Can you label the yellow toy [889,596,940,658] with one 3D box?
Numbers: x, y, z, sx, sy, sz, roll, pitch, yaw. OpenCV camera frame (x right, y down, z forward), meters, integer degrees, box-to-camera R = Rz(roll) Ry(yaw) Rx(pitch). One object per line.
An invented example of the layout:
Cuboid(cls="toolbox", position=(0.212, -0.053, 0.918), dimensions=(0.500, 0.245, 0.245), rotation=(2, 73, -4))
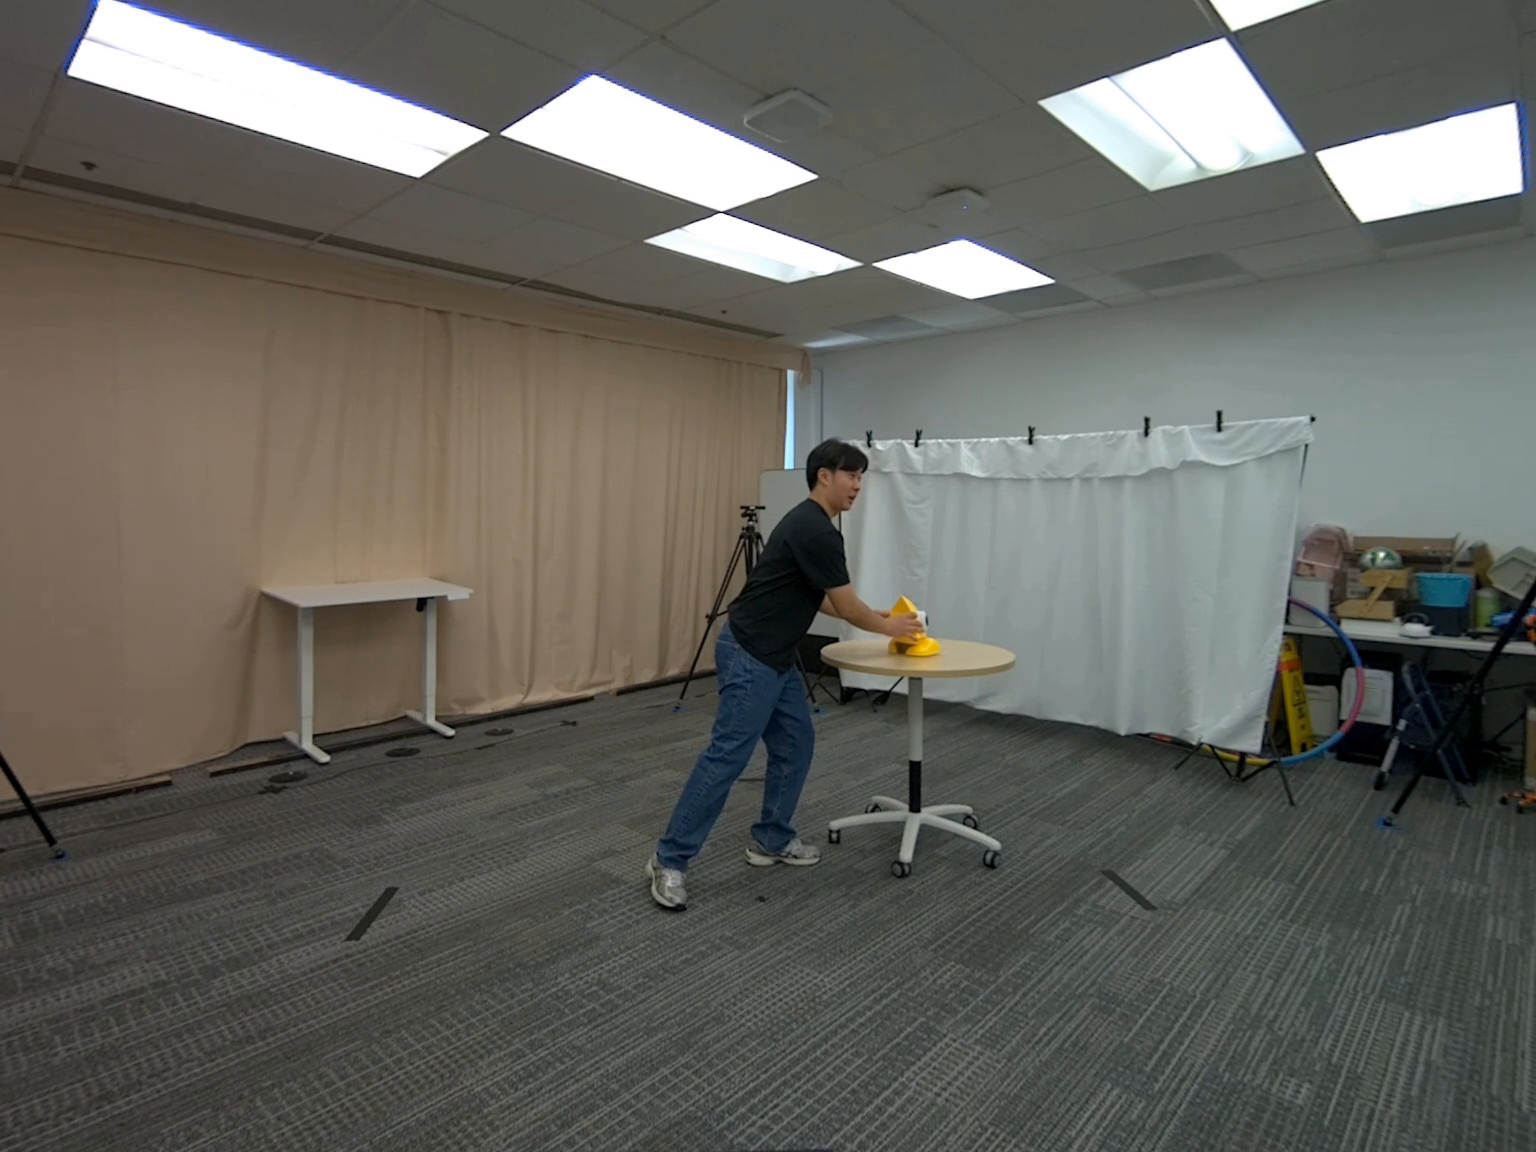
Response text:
Cuboid(cls="yellow toy", position=(0.586, 0.190, 3.382), dimensions=(0.187, 0.230, 0.211), rotation=(-6, 7, -40))
